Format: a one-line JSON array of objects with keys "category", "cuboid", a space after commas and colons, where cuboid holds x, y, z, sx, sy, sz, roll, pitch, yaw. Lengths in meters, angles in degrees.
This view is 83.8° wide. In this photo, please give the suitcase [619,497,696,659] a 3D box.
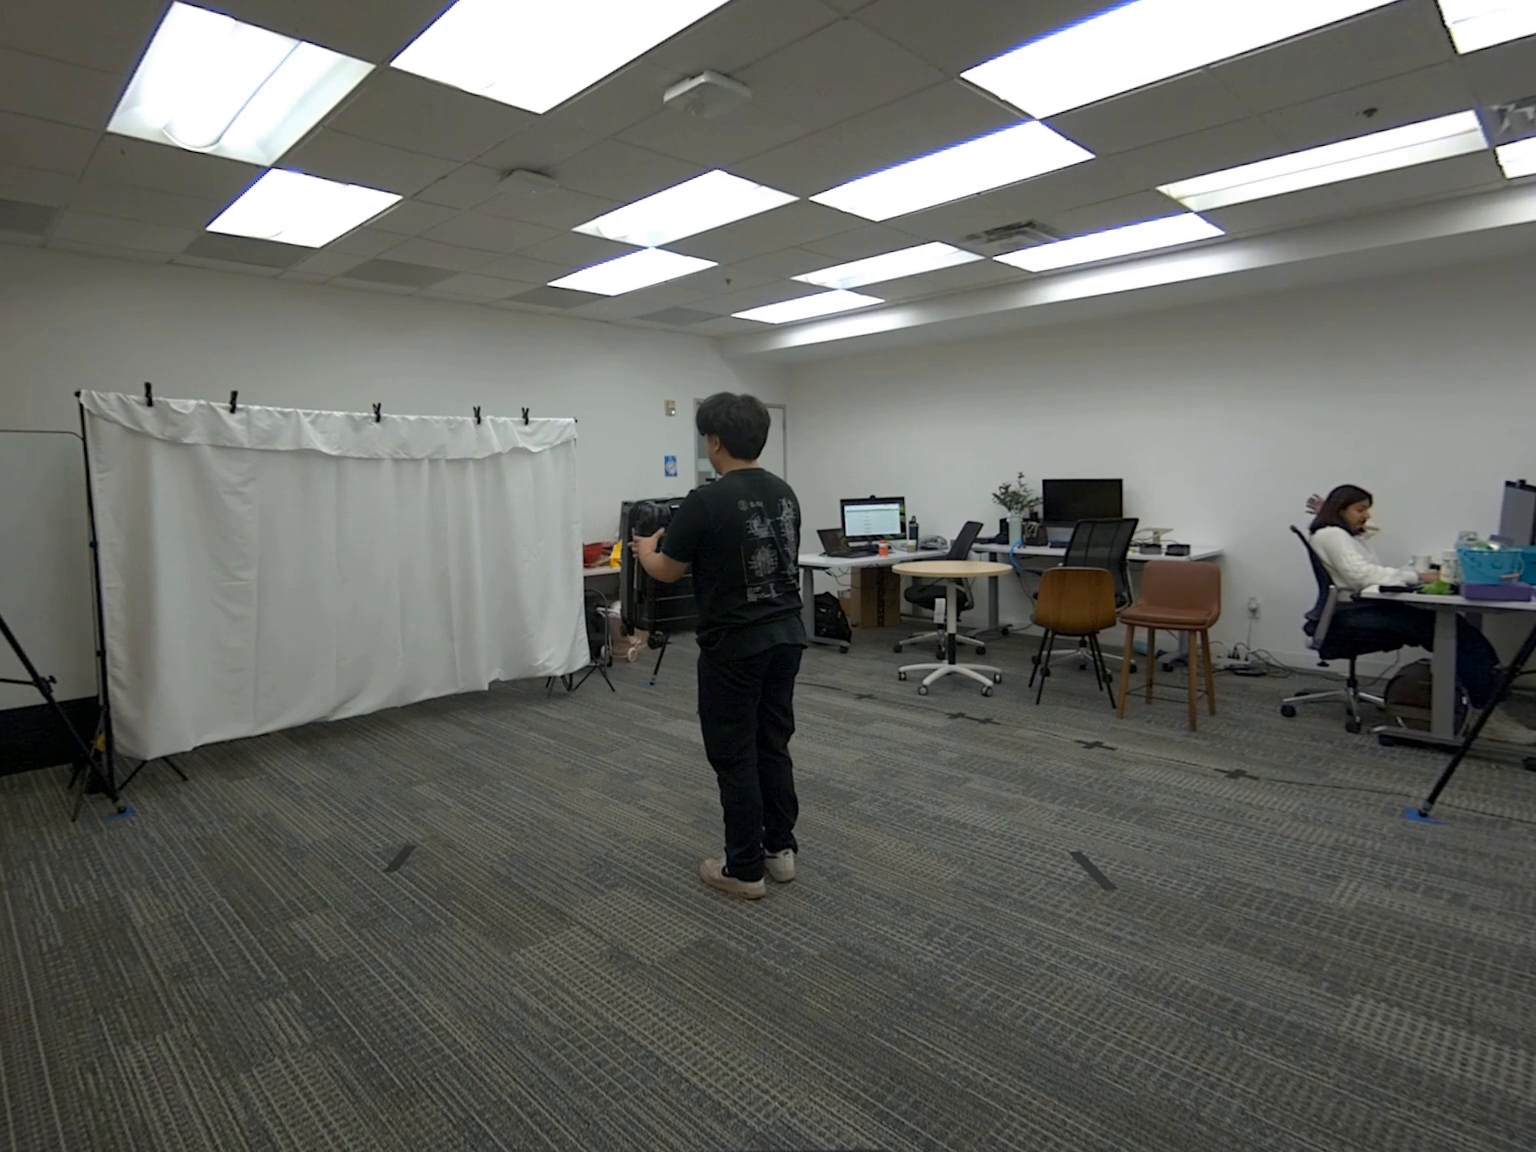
[{"category": "suitcase", "cuboid": [-0.380, -0.032, 3.332, 0.366, 0.545, 0.256, -5, 10, -36]}]
